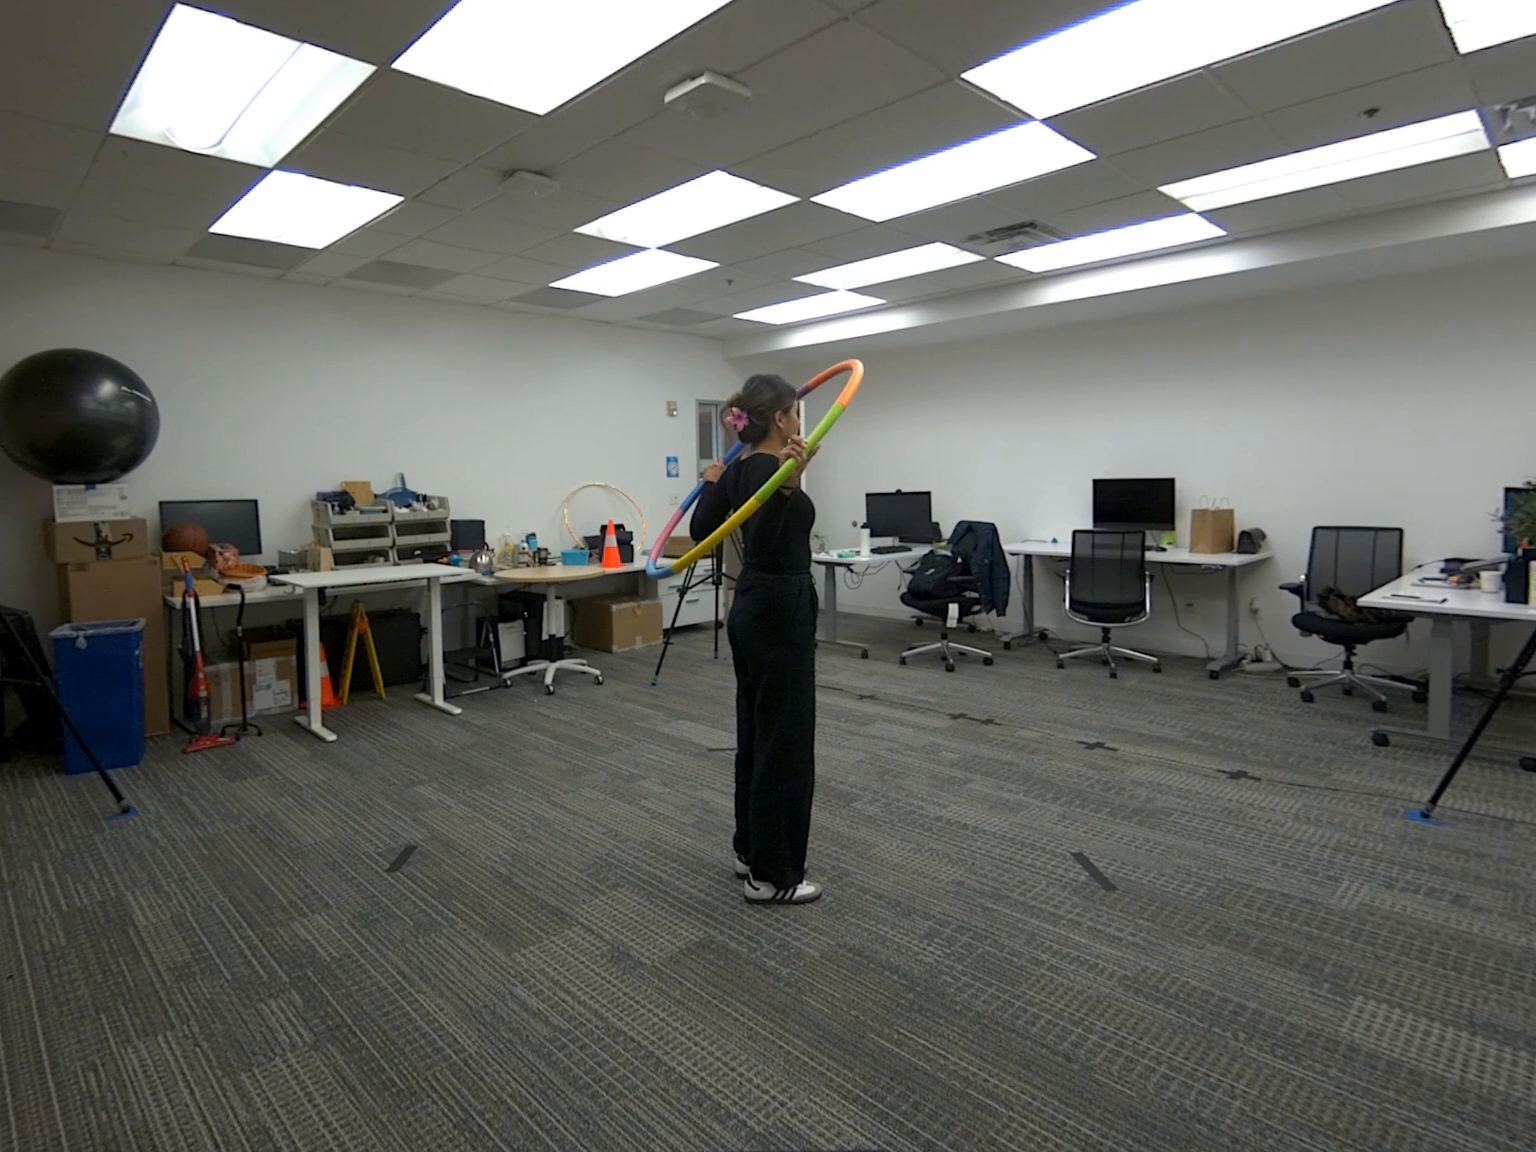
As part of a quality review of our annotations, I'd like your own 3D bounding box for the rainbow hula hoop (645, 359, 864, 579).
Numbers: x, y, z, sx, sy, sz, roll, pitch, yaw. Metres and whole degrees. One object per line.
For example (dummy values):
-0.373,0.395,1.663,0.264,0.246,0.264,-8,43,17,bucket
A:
-0.060,-0.360,2.836,0.979,0.035,0.996,-42,16,11,rainbow hula hoop
